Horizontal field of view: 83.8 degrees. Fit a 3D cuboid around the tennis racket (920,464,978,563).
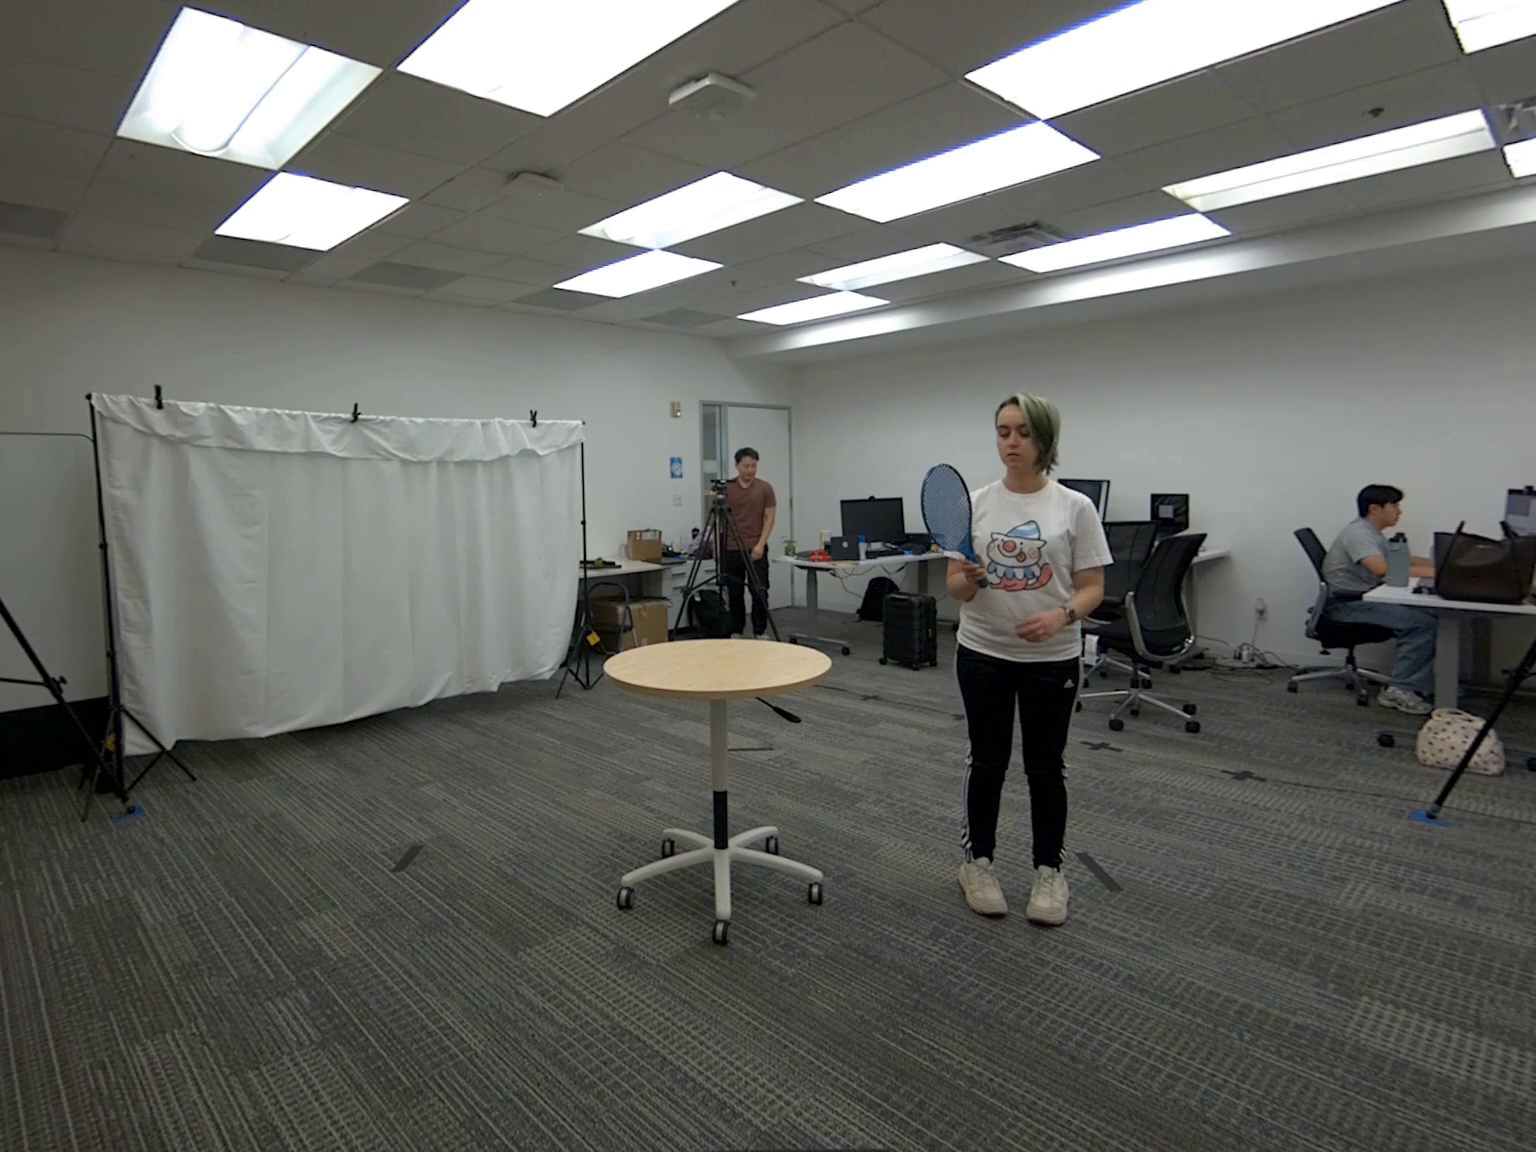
[{"bbox_3d":[0.547,-0.125,2.436,0.033,0.419,0.214,4,47,50],"label":"tennis racket"}]
